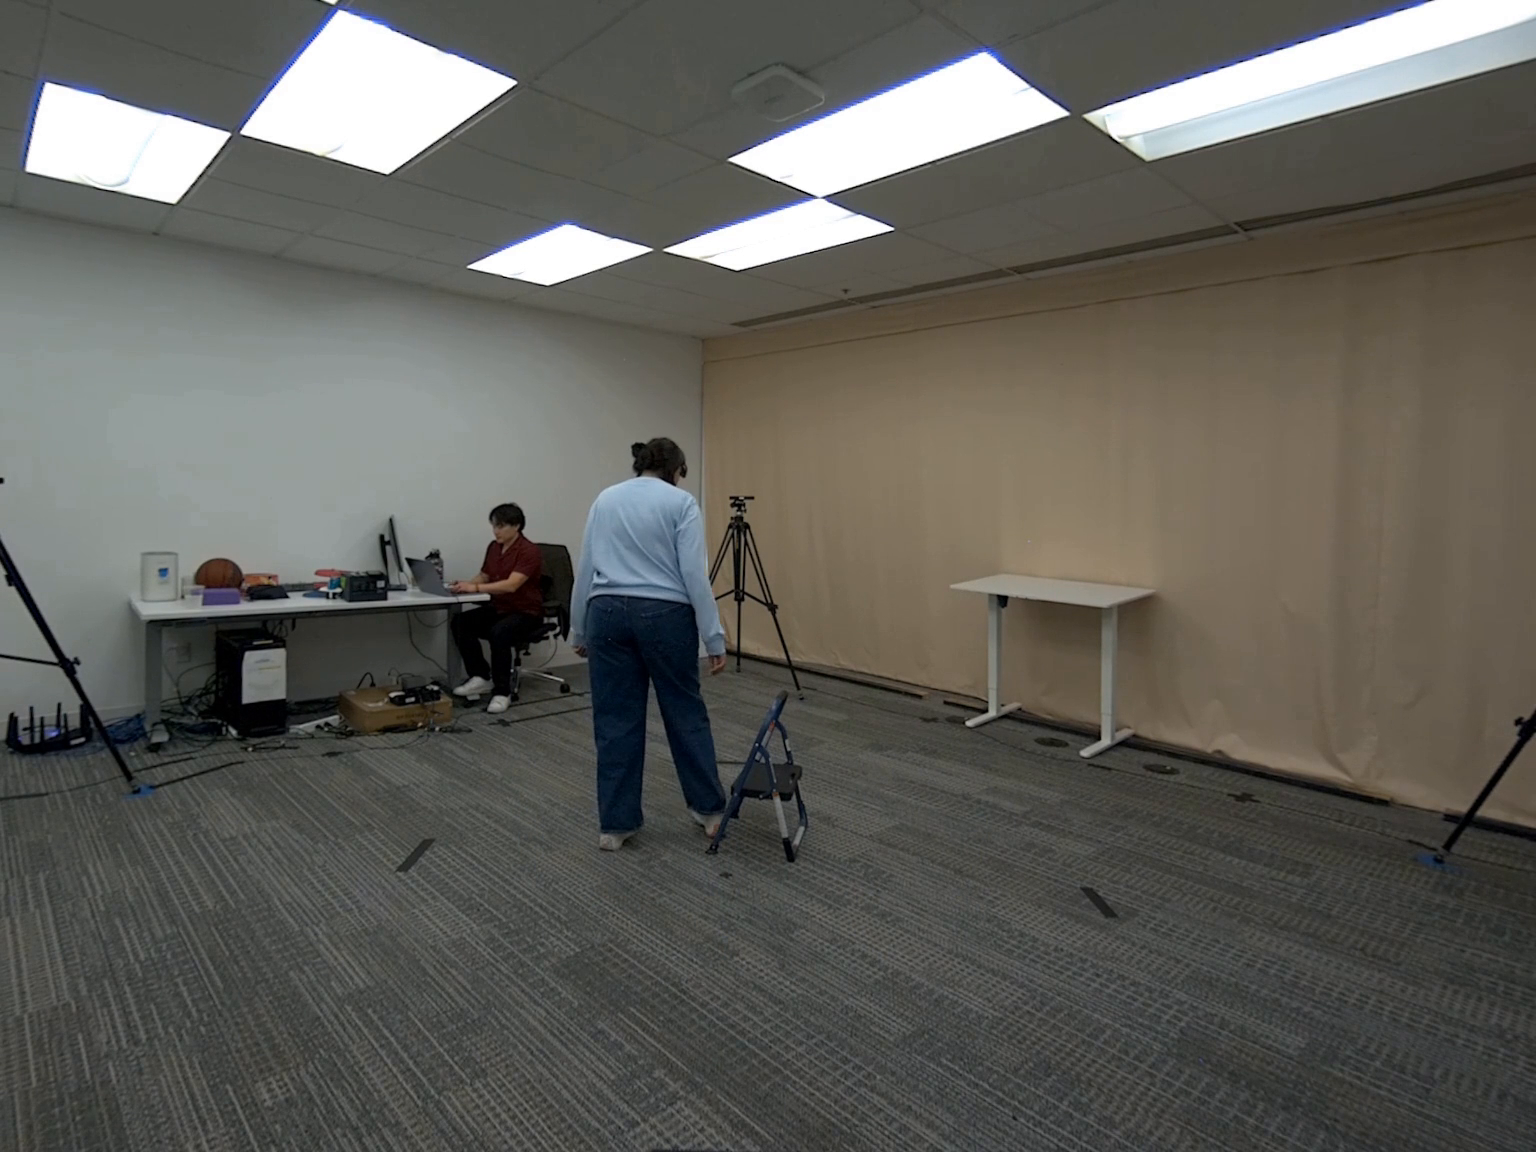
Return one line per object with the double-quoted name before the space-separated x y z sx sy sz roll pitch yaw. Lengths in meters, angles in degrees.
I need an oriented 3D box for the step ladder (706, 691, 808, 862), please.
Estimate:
"step ladder" -0.031 0.774 3.445 0.352 0.605 0.427 1 3 11
